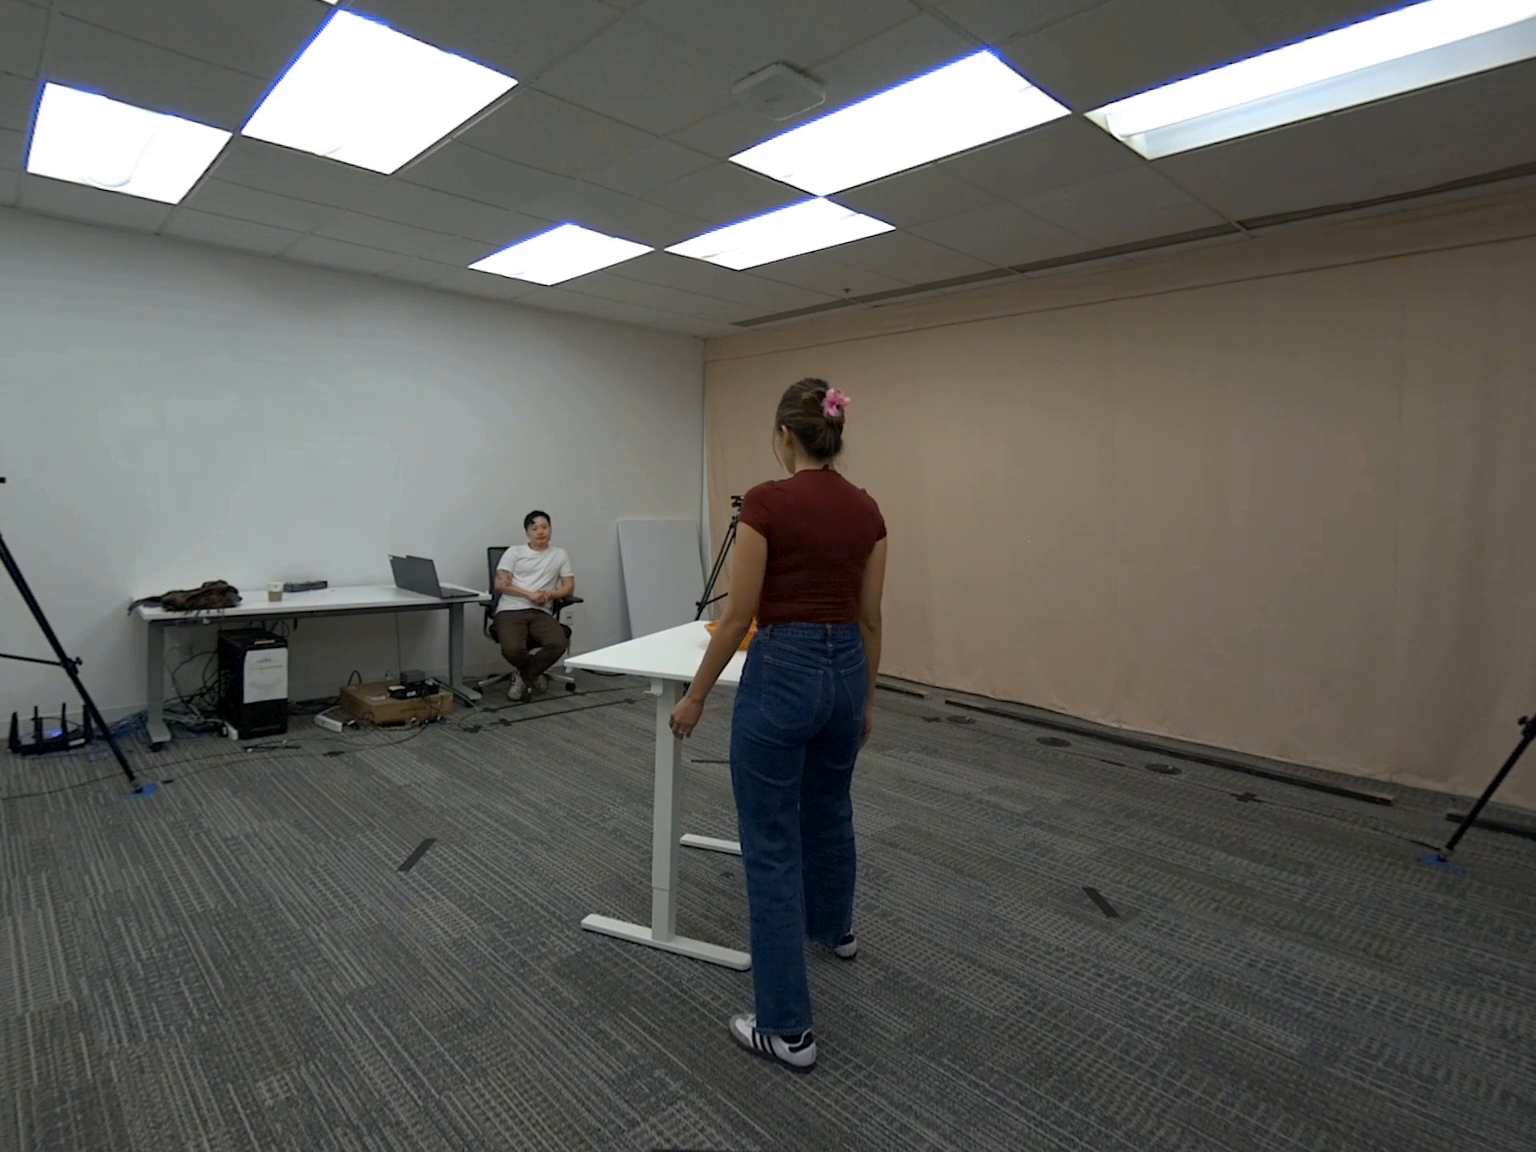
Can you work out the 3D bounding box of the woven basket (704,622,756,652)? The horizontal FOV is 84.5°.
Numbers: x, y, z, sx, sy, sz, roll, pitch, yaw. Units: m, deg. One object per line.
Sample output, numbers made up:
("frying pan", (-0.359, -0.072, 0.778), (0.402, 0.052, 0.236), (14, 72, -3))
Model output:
("woven basket", (-0.078, 0.212, 2.932), (0.257, 0.073, 0.345), (2, 5, 22))
